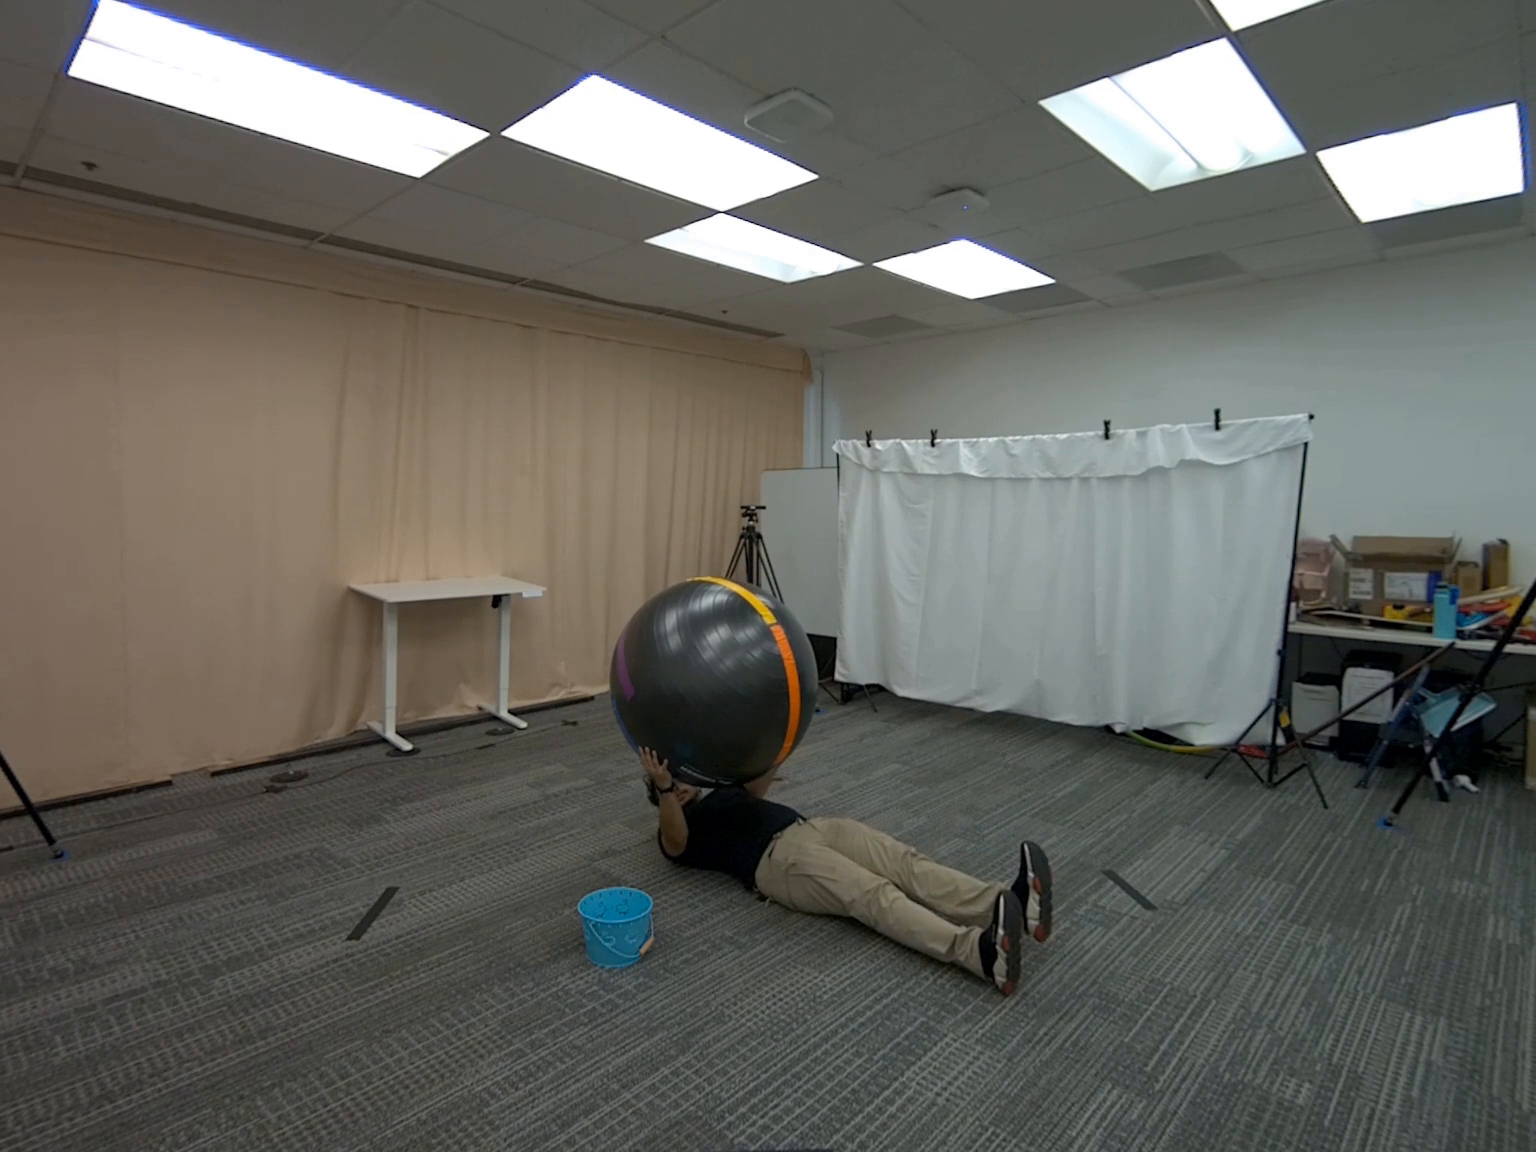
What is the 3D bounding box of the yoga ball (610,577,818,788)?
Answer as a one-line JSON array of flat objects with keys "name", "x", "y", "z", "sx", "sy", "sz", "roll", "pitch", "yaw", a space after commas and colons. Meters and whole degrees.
[{"name": "yoga ball", "x": -0.198, "y": 0.388, "z": 3.084, "sx": 0.757, "sy": 0.756, "sz": 0.761, "roll": 0, "pitch": 4, "yaw": -2}]
